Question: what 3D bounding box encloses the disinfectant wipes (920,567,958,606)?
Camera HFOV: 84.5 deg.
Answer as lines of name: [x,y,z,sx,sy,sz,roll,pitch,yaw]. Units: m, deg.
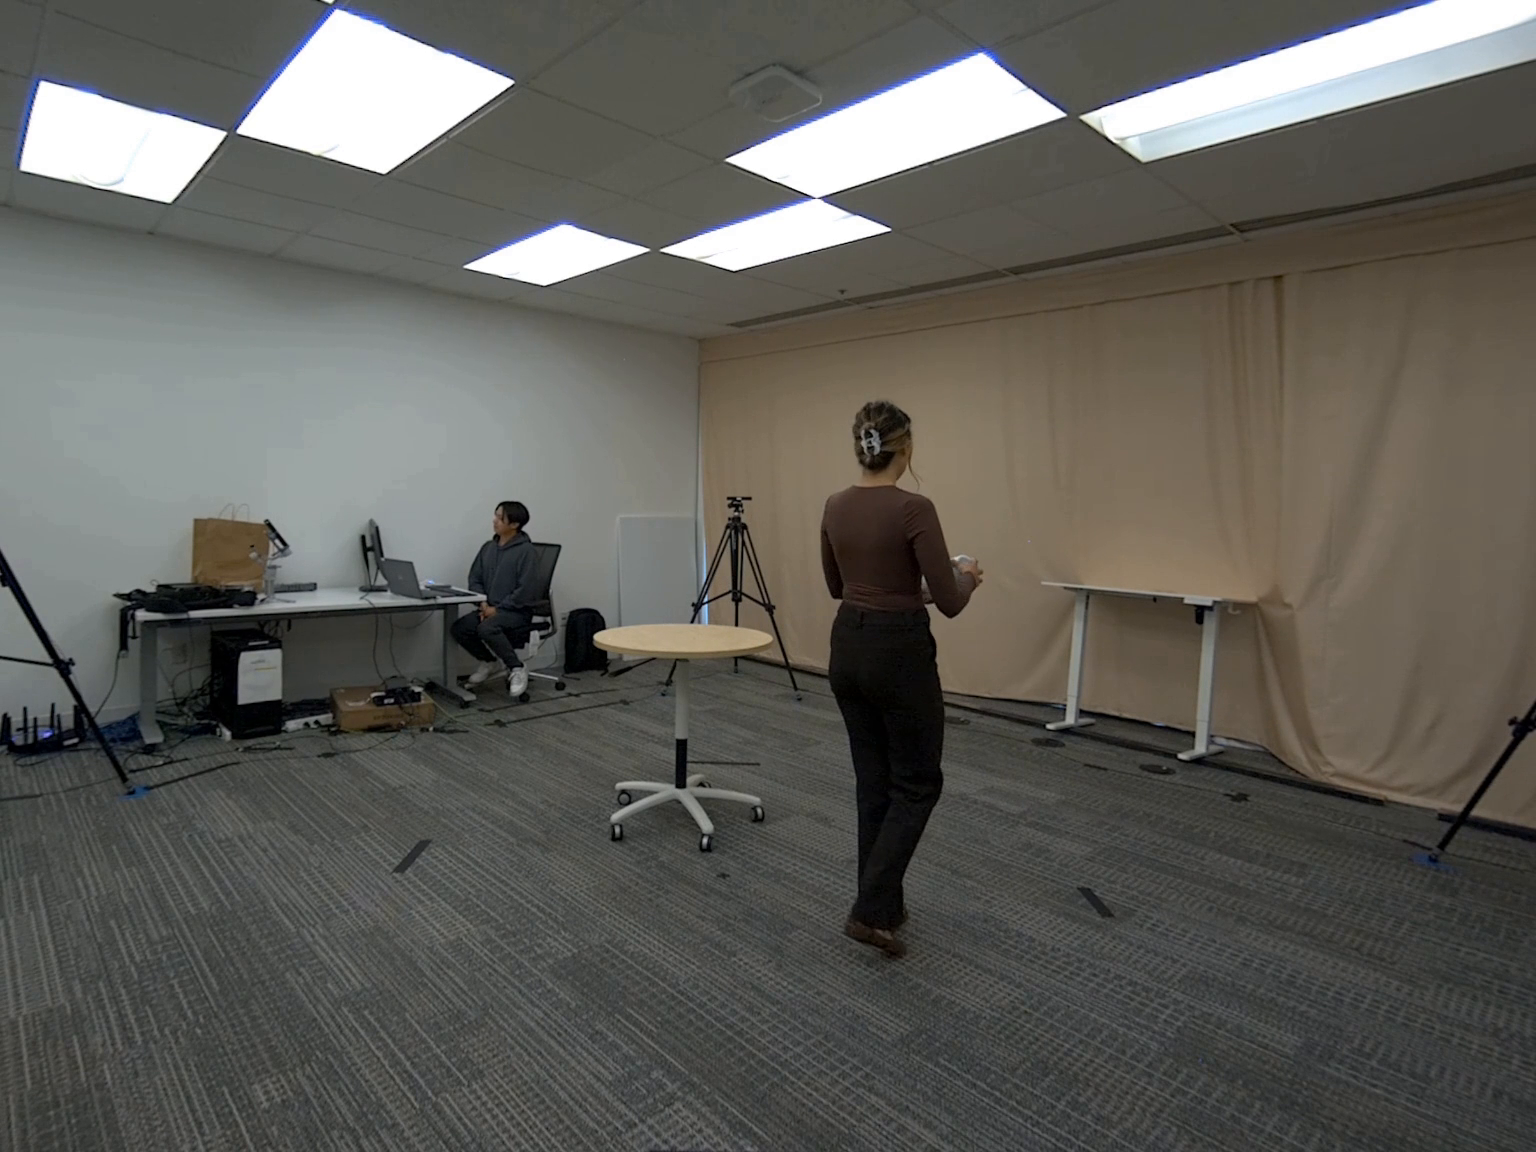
disinfectant wipes: [0.595,0.012,2.877,0.115,0.119,0.220,-2,-16,-40]
